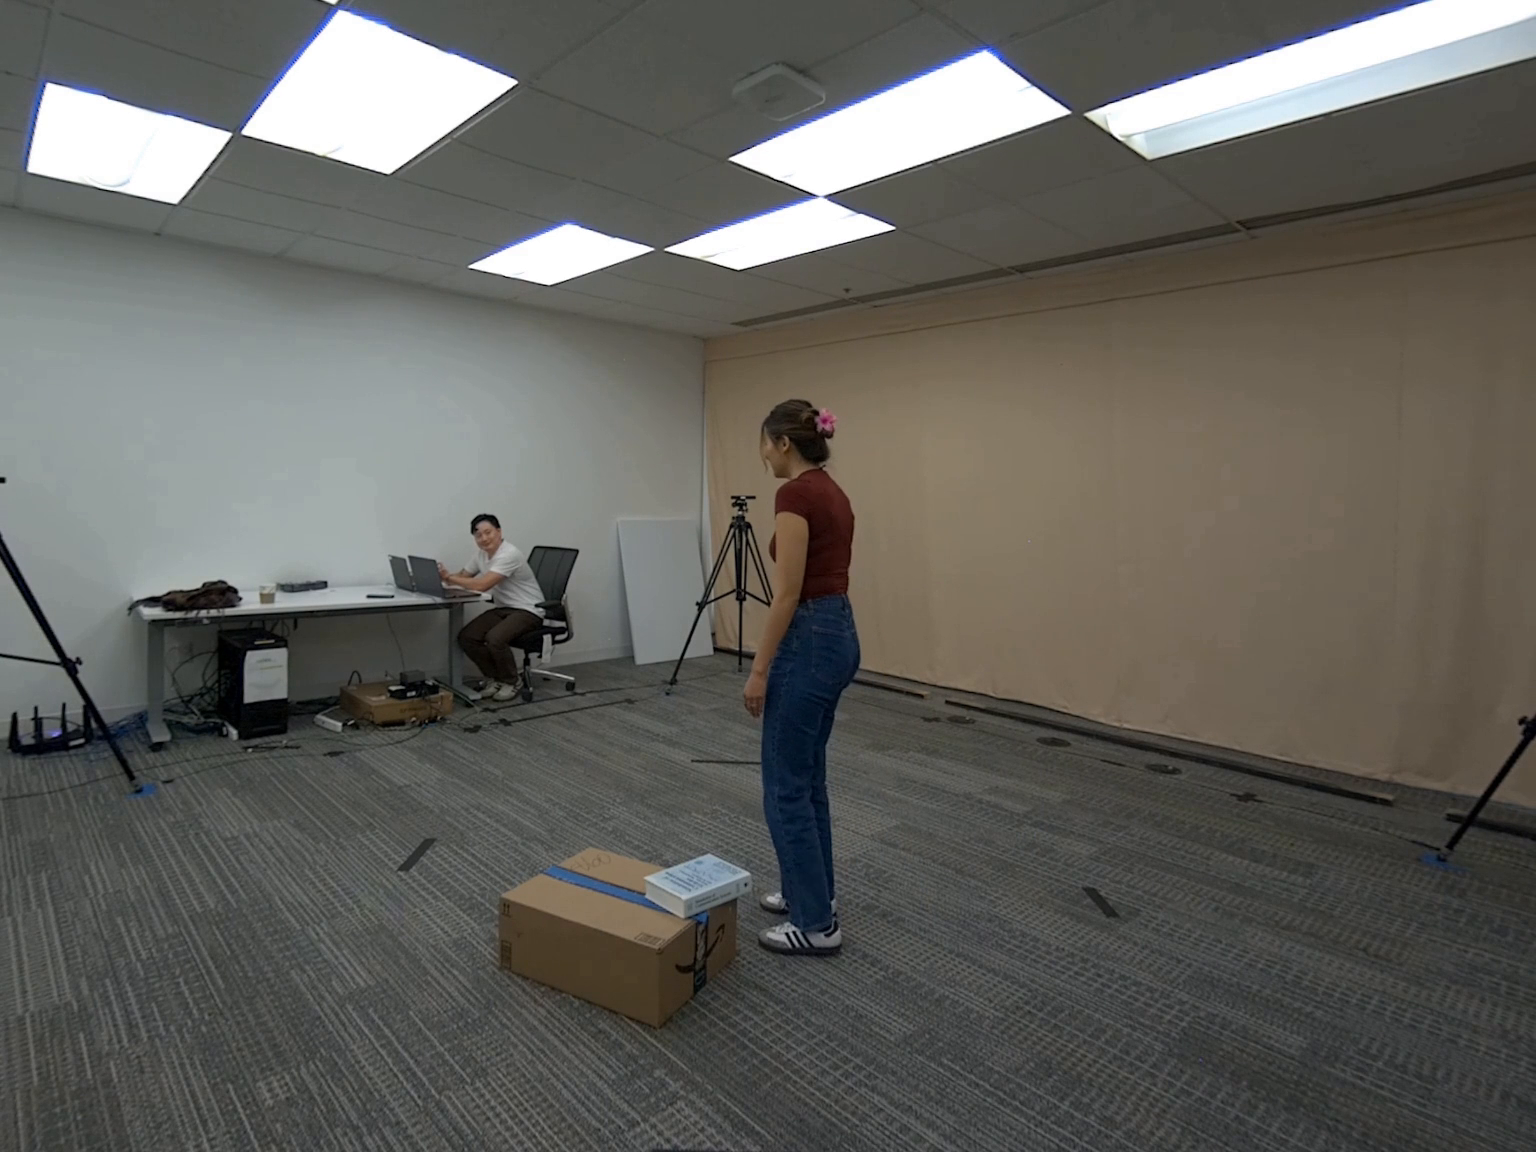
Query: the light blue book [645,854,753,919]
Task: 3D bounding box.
[{"bbox_3d":[-0.212,0.912,2.487,0.255,0.059,0.196,-3,6,-44],"label":"light blue book"}]
